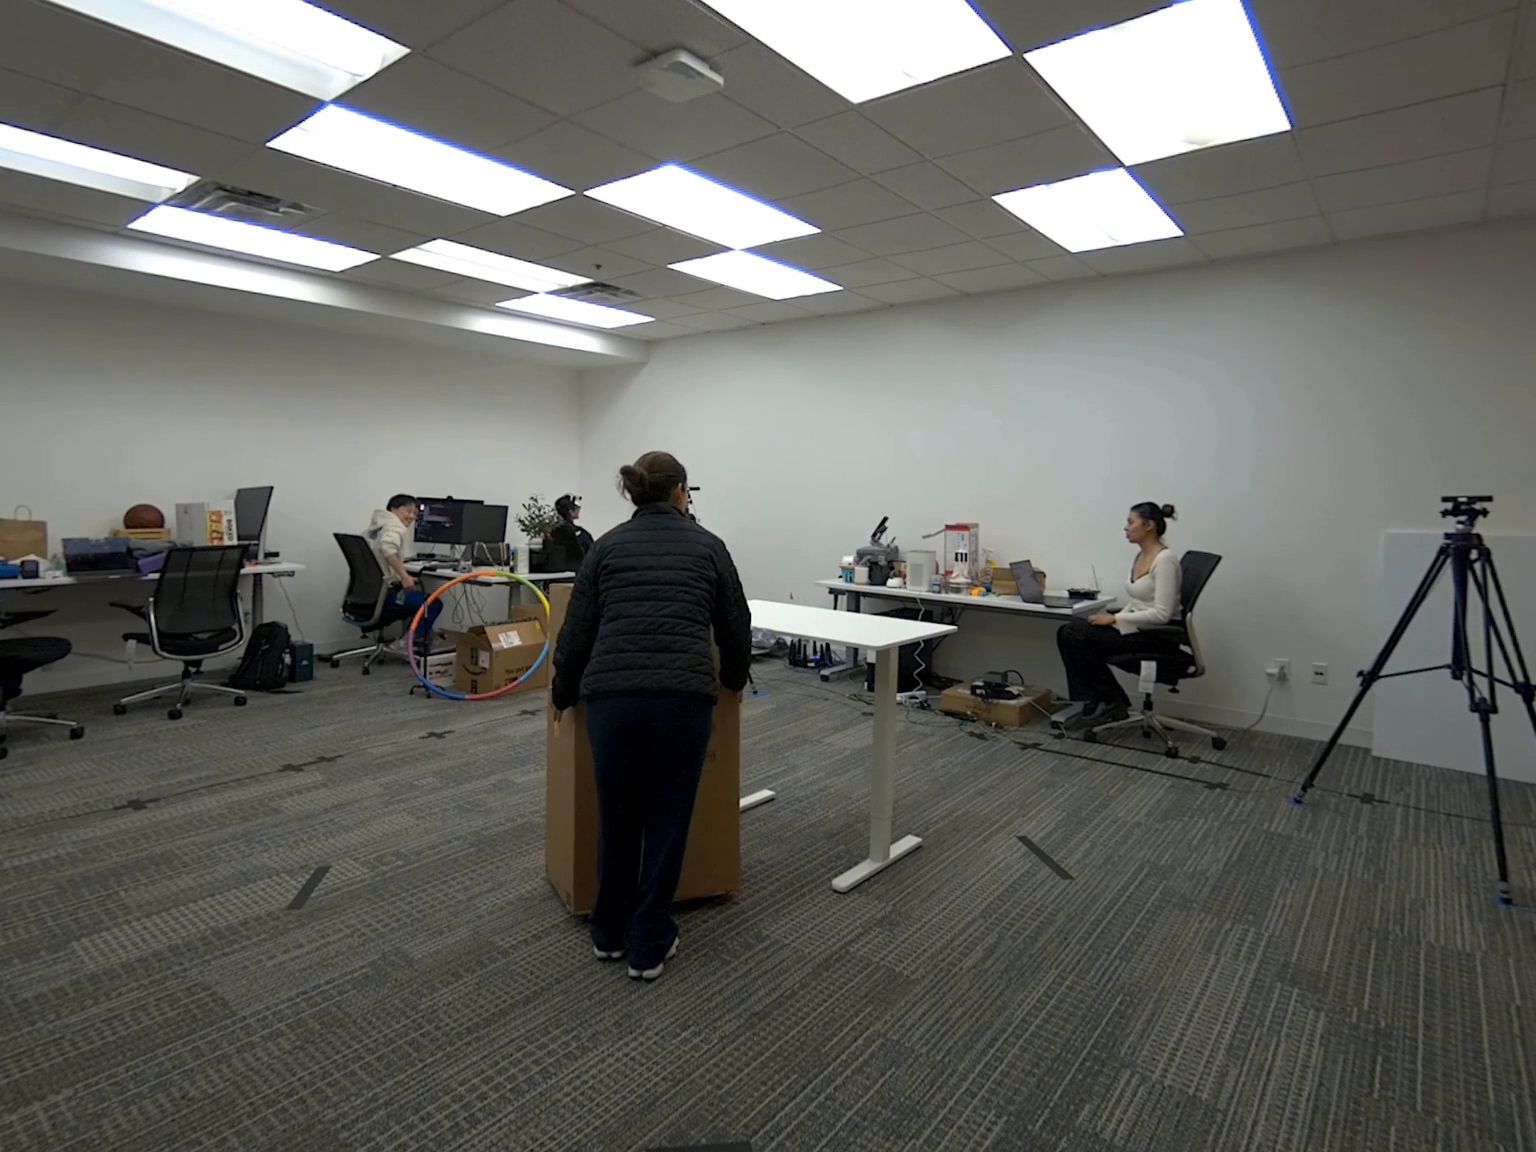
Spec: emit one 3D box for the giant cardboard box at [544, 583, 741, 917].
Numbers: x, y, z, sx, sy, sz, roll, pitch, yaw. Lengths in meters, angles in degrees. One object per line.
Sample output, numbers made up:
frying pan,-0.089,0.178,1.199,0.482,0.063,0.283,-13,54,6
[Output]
giant cardboard box,-0.431,0.541,2.987,0.564,1.030,0.435,1,-4,-24
